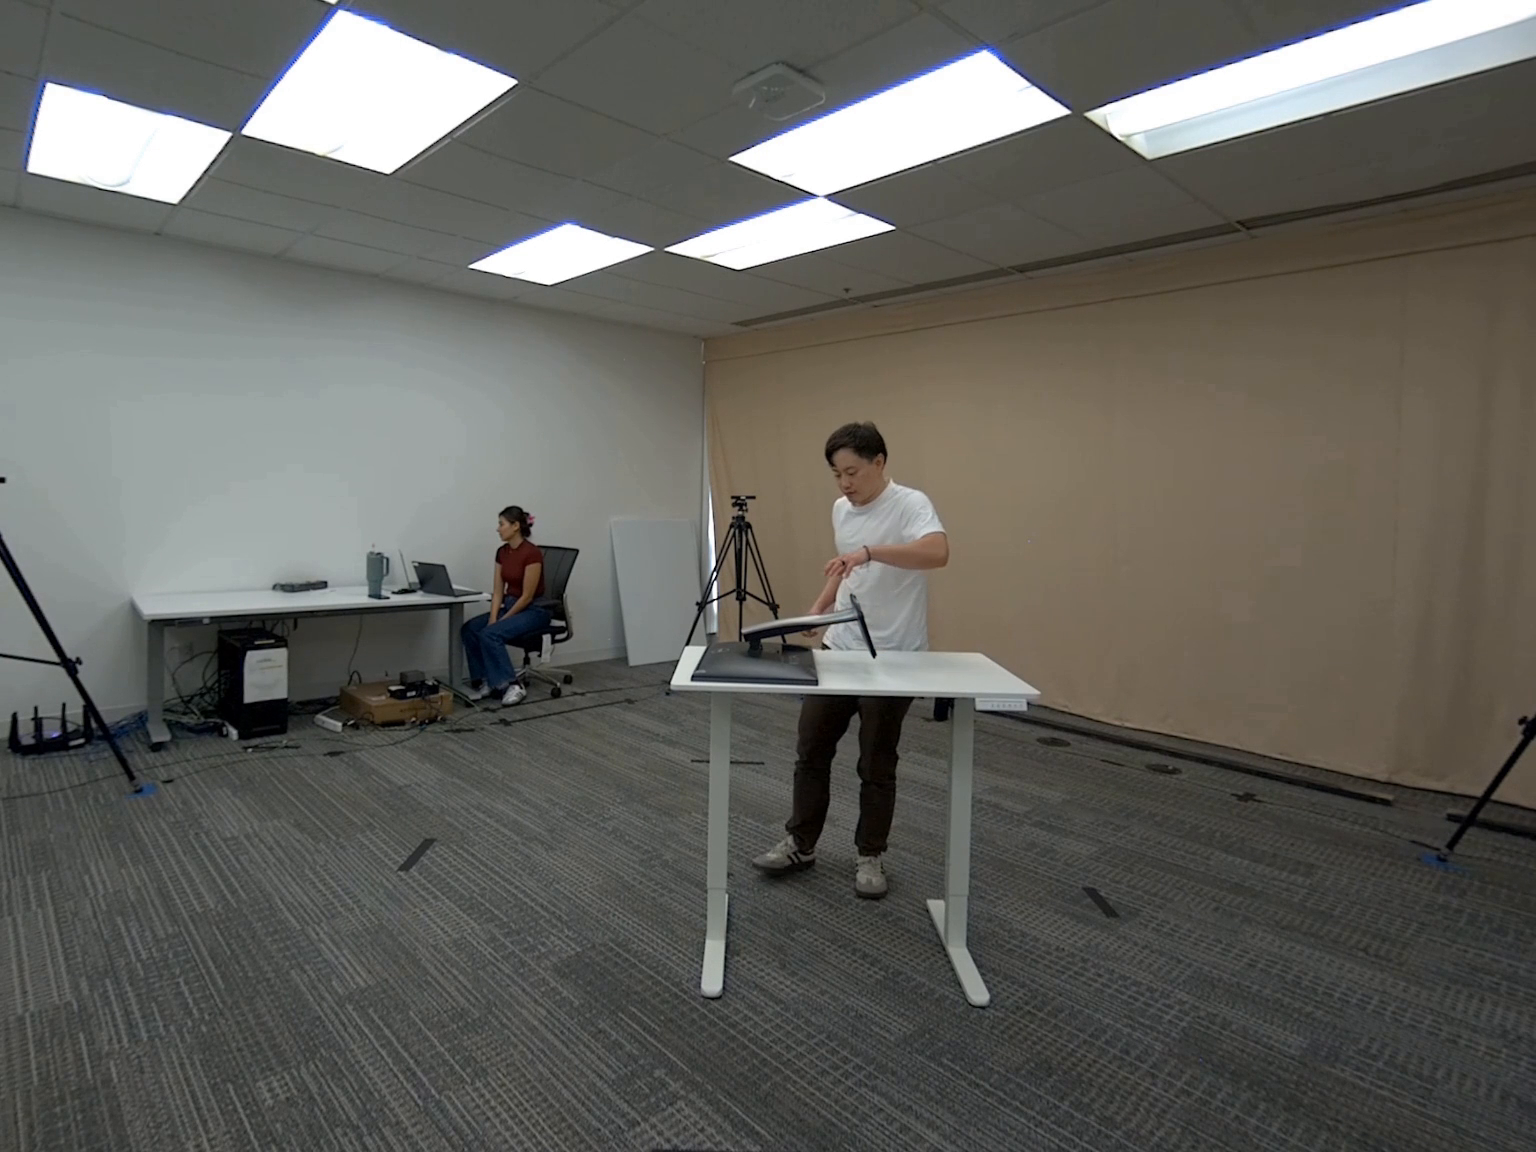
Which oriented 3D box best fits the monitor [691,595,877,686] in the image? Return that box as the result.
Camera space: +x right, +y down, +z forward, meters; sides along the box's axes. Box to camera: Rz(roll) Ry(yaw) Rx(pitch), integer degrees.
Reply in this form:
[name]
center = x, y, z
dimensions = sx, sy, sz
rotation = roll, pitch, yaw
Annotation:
[monitor]
center = 0.041, 0.217, 2.552
dimensions = 0.524, 0.187, 0.539
rotation = -16, 3, 3
